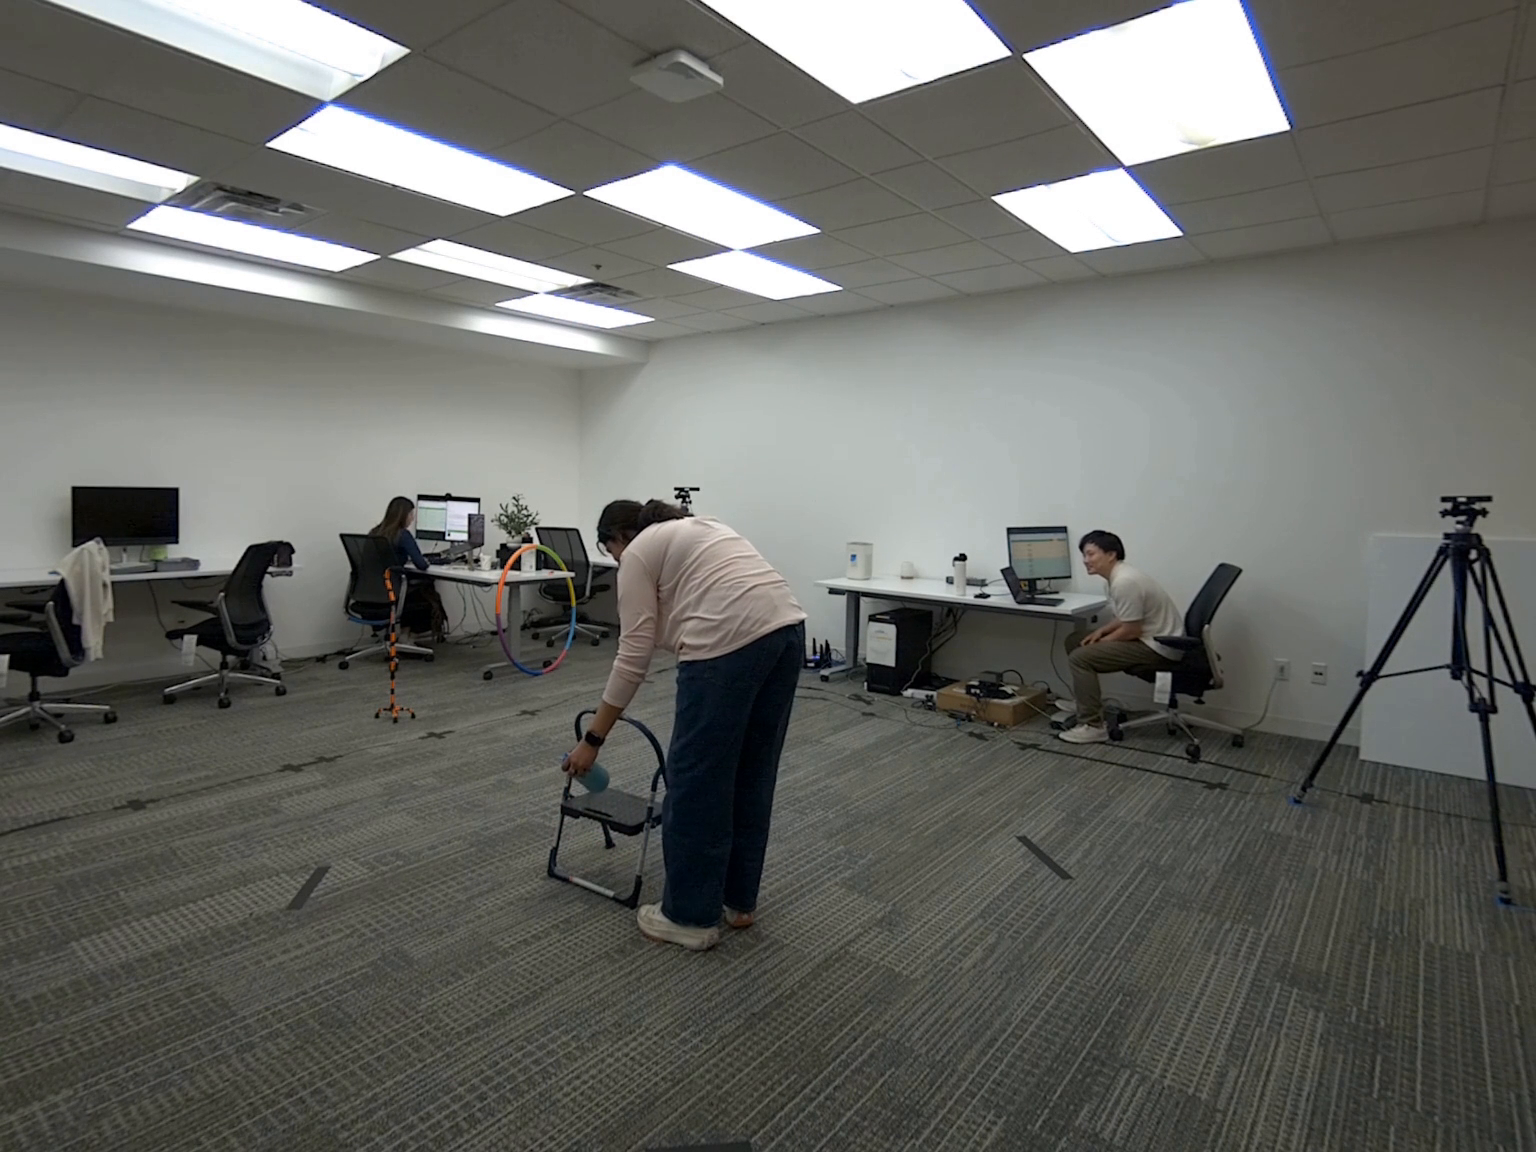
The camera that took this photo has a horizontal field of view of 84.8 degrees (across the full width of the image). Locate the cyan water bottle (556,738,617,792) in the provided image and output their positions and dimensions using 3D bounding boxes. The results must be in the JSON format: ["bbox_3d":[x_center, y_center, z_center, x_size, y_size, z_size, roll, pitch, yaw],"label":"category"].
[{"bbox_3d":[-0.592,0.621,2.755,0.093,0.094,0.274,2,-27,11],"label":"cyan water bottle"}]
